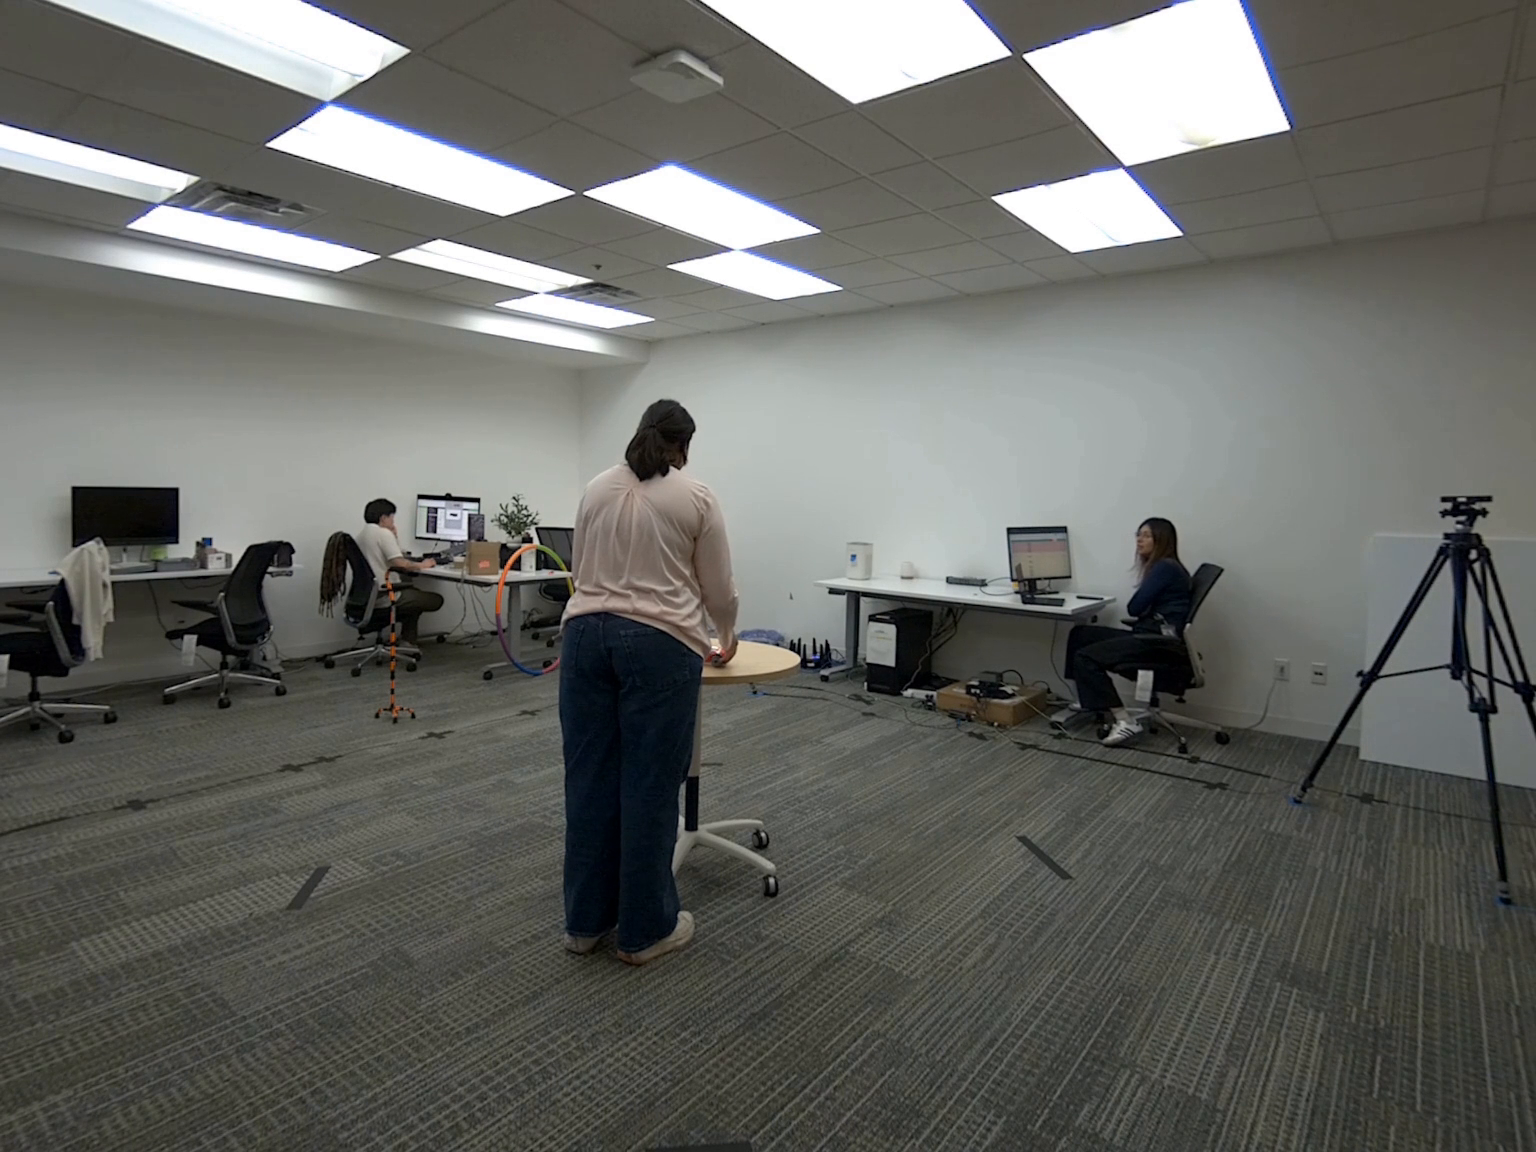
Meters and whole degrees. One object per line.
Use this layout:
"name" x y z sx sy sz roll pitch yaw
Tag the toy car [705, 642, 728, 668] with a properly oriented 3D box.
"toy car" -0.276 0.267 2.932 0.257 0.083 0.129 12 5 9
